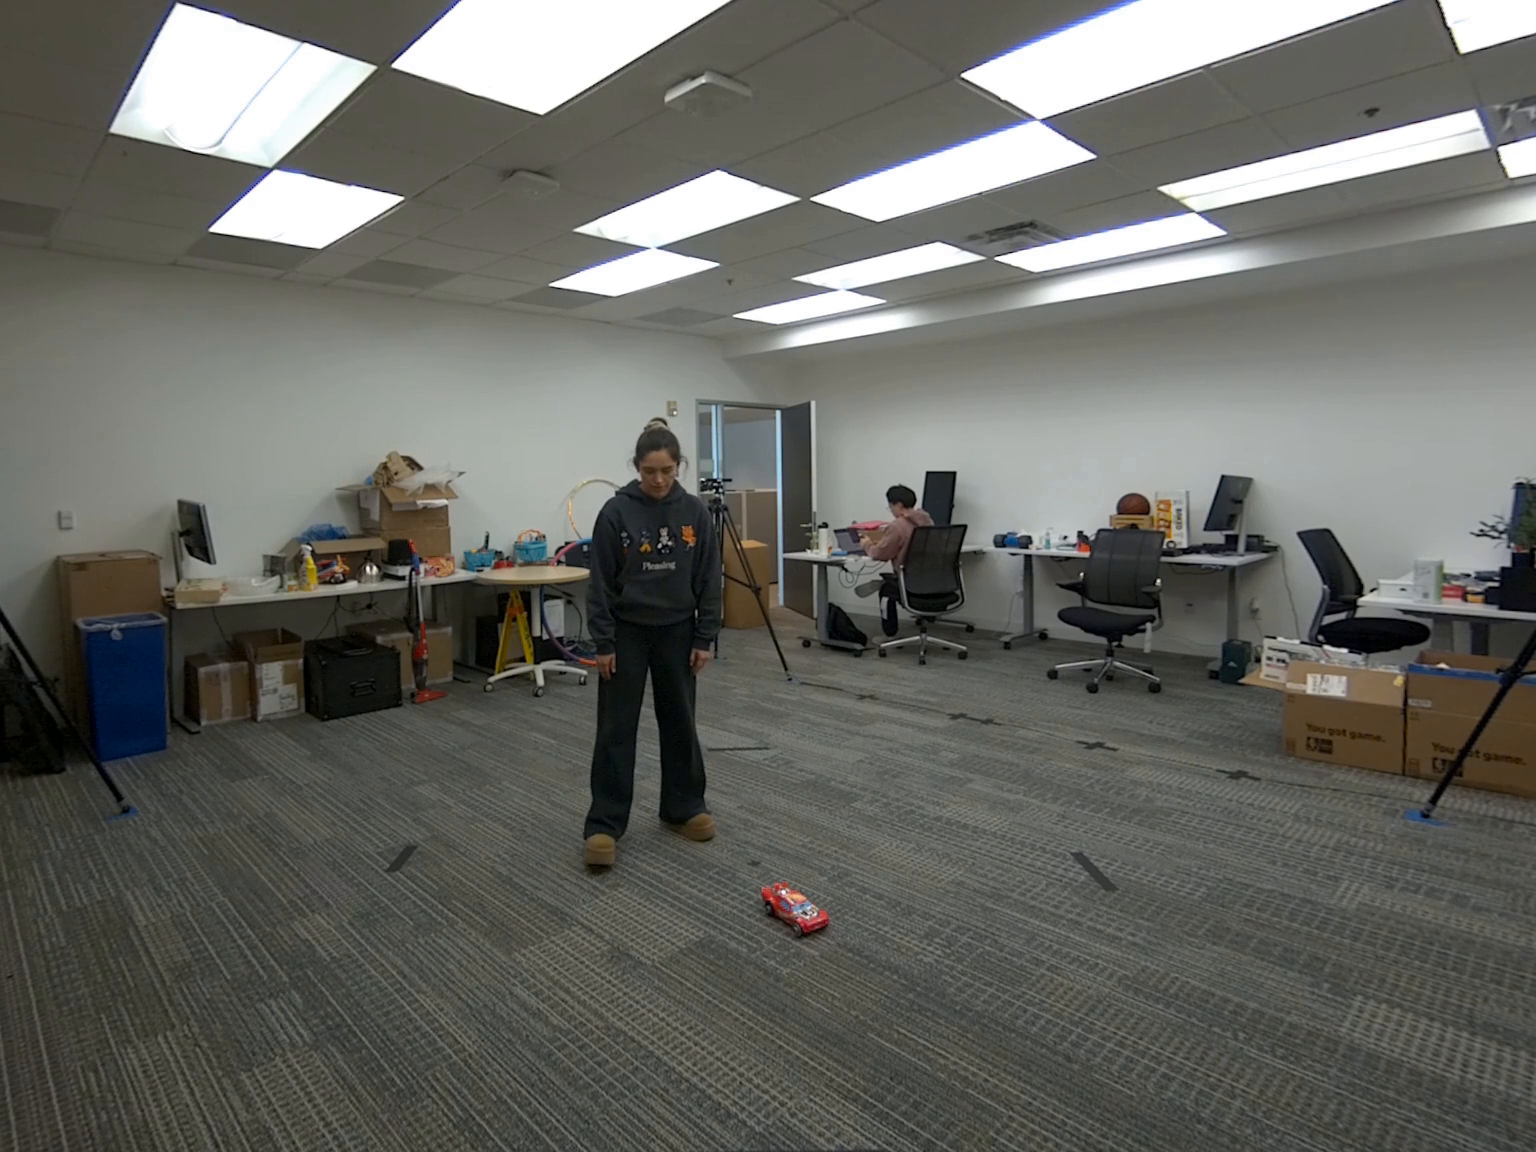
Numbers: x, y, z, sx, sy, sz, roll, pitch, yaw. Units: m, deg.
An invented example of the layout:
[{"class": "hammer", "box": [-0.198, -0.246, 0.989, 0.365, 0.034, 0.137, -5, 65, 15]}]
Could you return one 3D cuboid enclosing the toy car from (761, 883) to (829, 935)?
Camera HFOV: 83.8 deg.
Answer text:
[{"class": "toy car", "box": [0.081, 1.055, 2.699, 0.127, 0.082, 0.264, -6, 18, -33]}]
